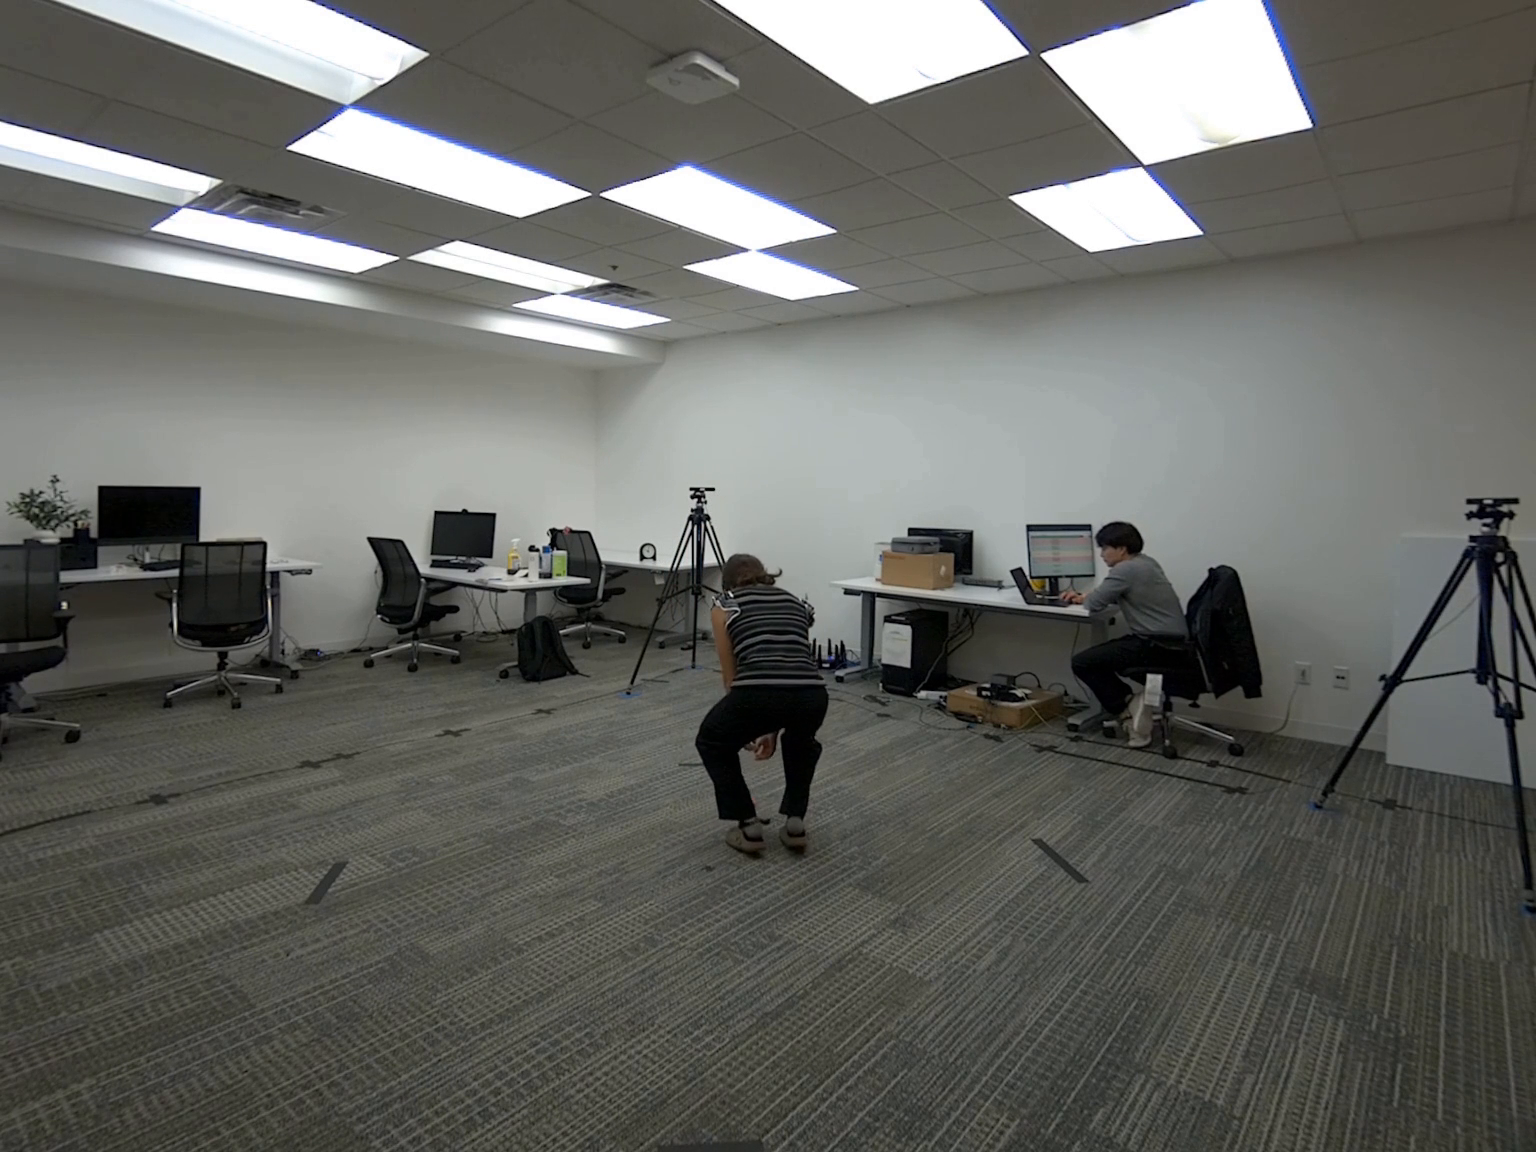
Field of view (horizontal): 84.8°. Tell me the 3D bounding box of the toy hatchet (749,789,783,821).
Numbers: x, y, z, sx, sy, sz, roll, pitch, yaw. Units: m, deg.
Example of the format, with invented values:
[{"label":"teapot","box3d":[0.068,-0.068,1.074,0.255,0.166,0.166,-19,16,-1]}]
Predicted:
[{"label":"toy hatchet","box3d":[-0.067,0.993,3.667,0.127,0.029,0.280,-1,8,-40]}]
